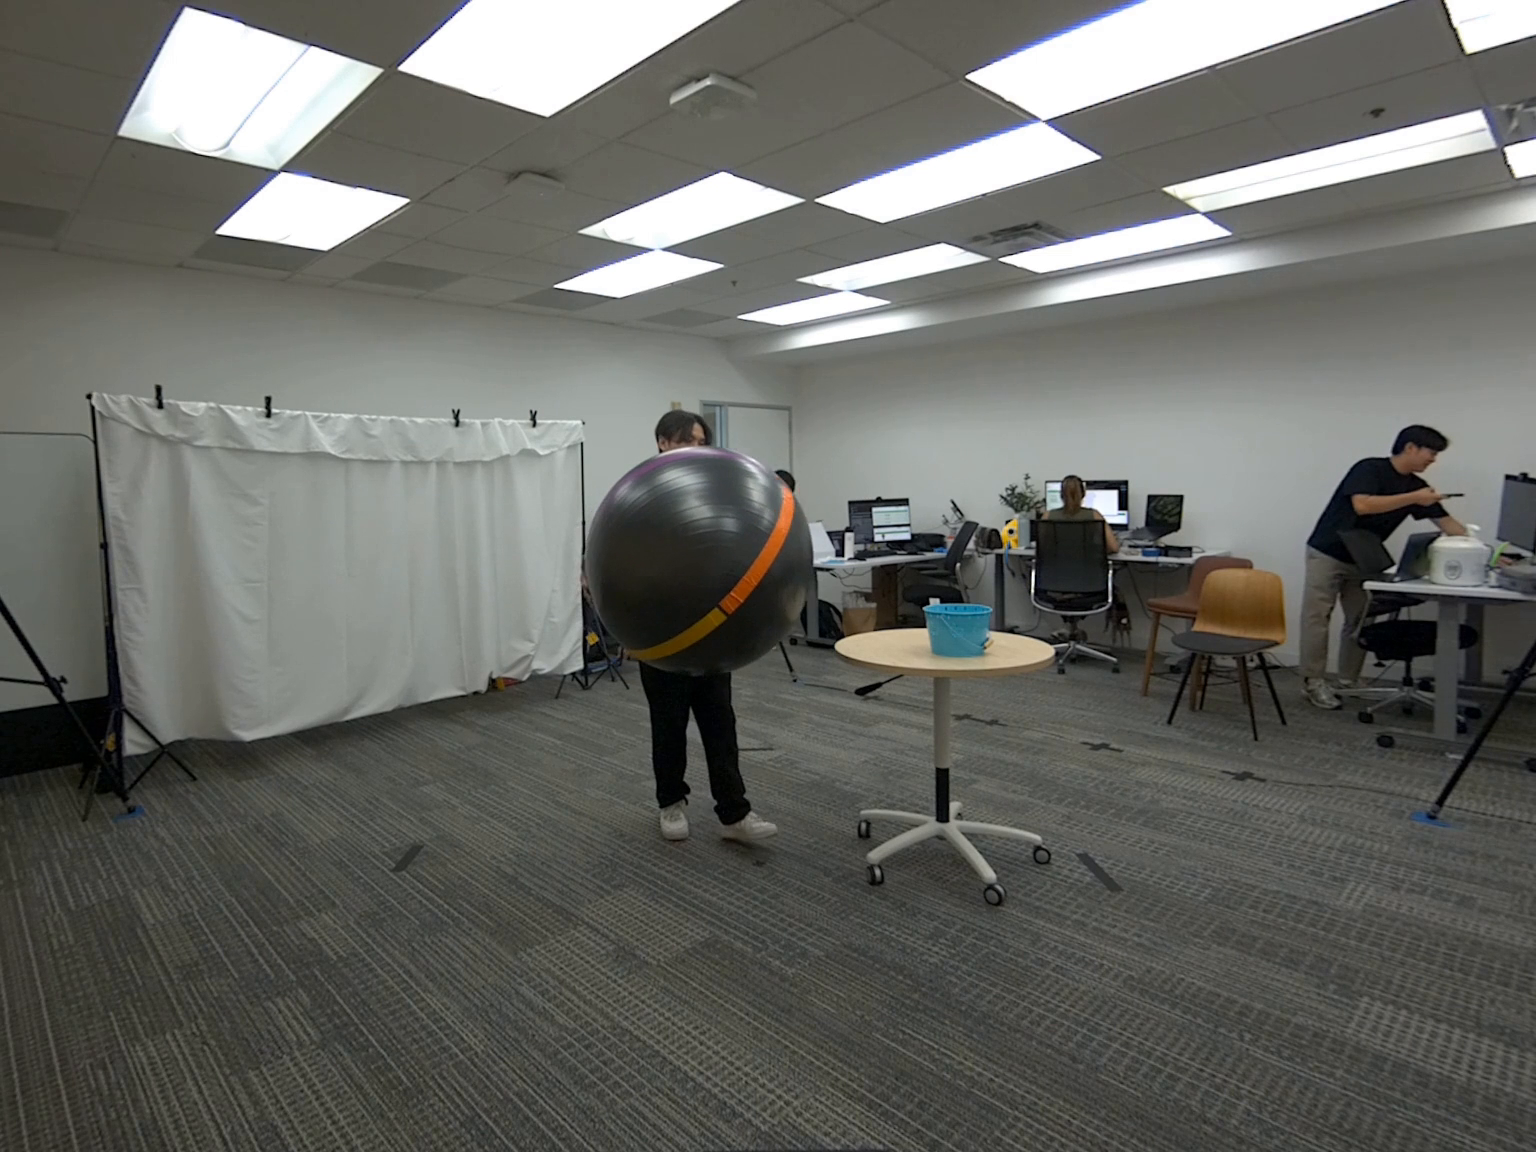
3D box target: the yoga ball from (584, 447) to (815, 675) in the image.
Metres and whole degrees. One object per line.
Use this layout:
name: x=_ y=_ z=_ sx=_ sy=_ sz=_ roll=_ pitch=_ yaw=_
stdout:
yoga ball: x=-0.228 y=-0.047 z=2.838 sx=0.757 sy=0.755 sz=0.762 roll=-1 pitch=5 yaw=-2
